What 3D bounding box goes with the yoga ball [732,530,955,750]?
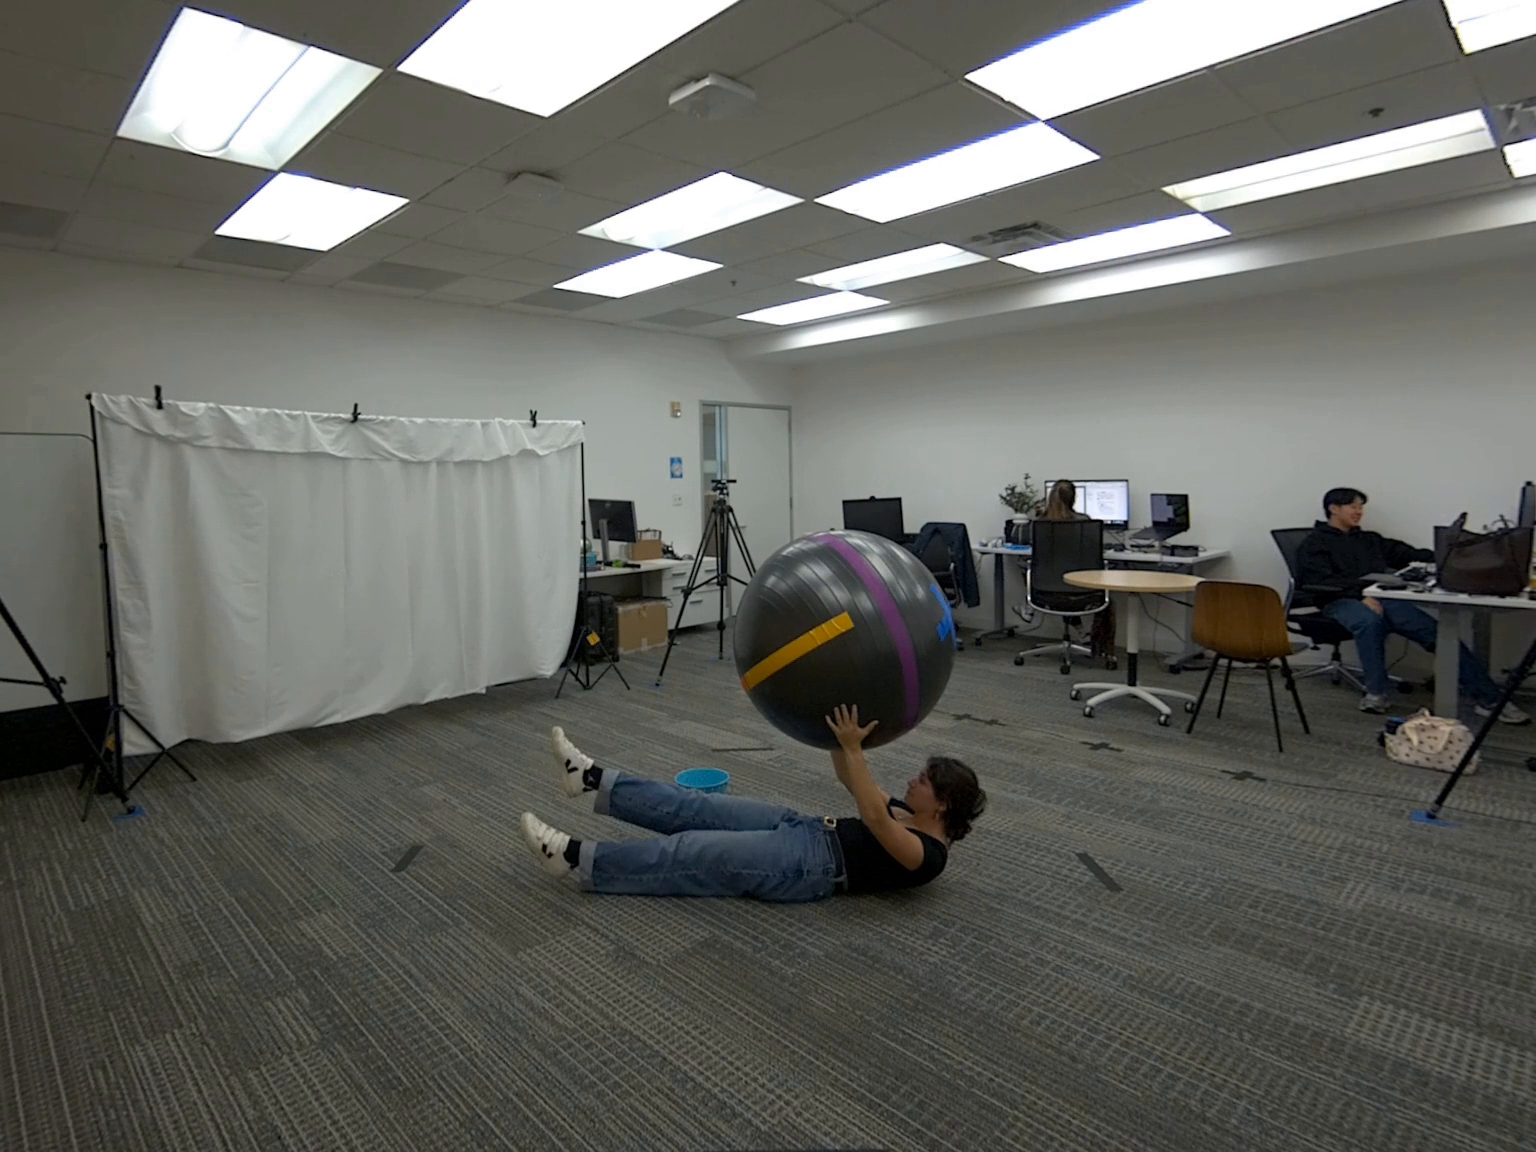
[{"bbox_3d":[0.254,0.221,2.954,0.757,0.755,0.762,-1,5,-2],"label":"yoga ball"}]
